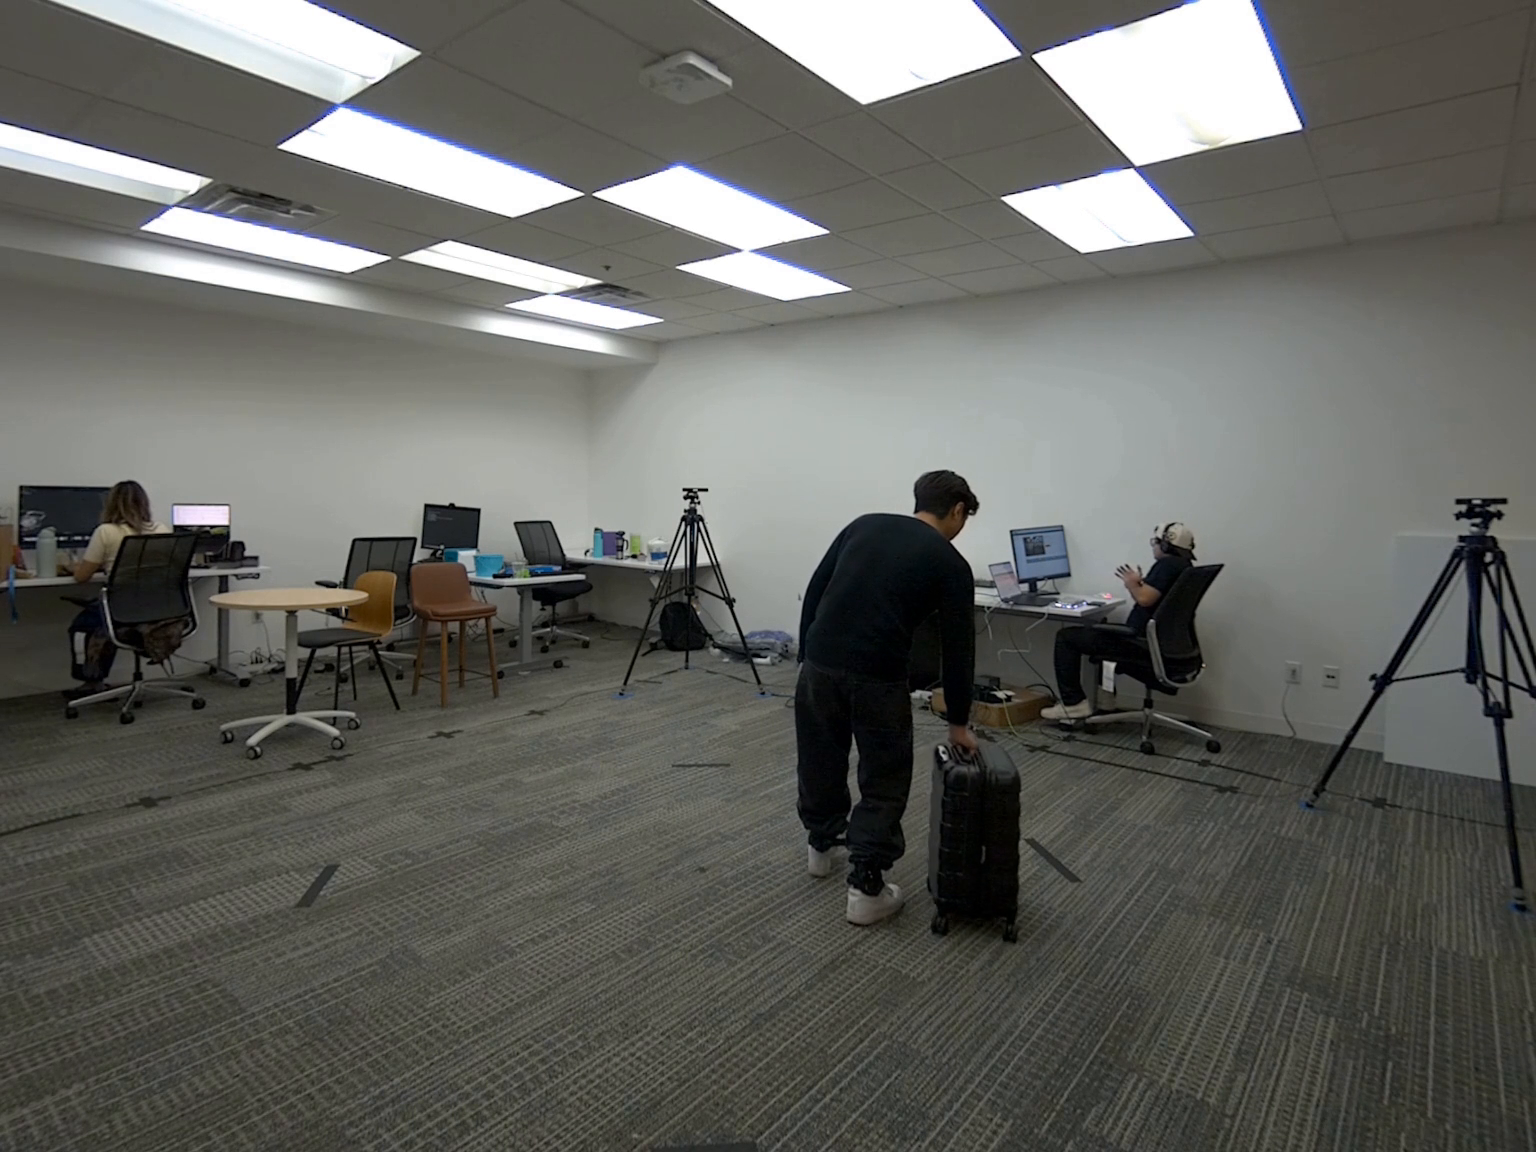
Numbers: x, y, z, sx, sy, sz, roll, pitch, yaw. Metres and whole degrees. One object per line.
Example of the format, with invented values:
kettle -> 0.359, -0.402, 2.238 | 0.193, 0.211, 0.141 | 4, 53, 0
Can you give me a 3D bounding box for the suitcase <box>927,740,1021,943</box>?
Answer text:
suitcase -> 0.677, 0.843, 2.834 | 0.250, 0.548, 0.373 | 2, 2, 7
